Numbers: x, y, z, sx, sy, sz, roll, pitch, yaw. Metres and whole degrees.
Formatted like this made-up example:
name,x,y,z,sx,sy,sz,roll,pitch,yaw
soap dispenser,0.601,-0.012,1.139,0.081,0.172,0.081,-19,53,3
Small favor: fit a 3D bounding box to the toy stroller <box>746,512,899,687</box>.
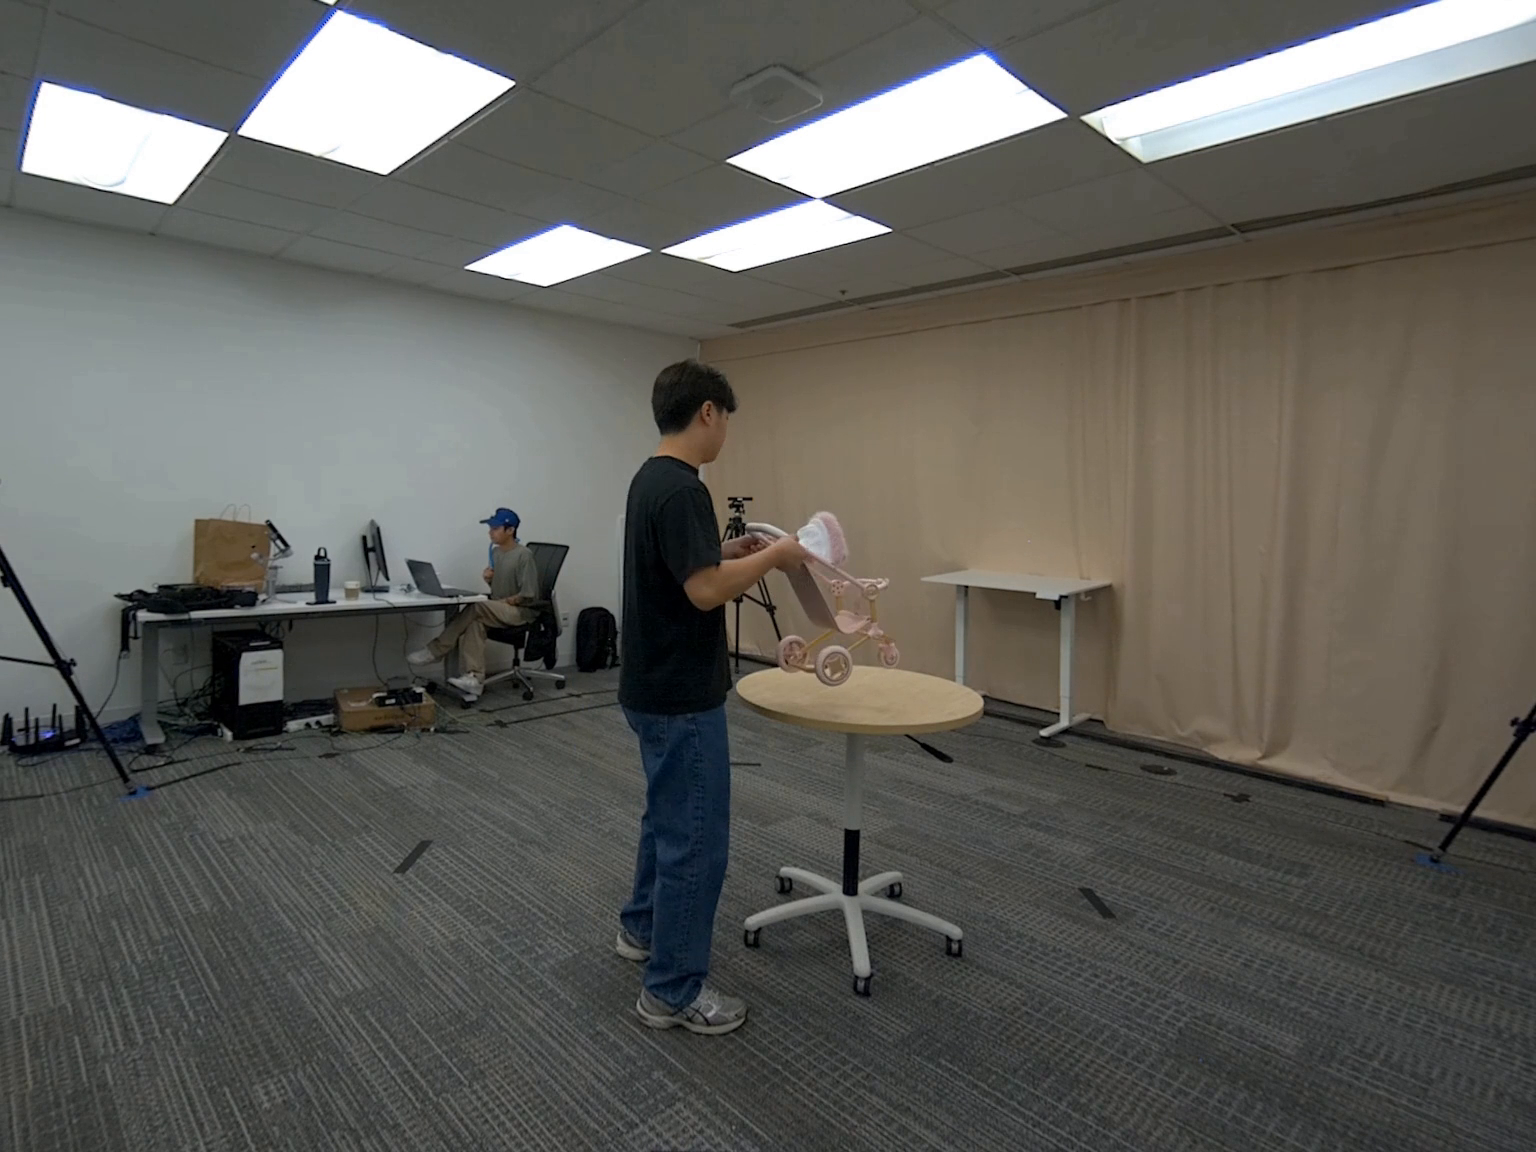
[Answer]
name,x,y,z,sx,sy,sz,roll,pitch,yaw
toy stroller,0.170,0.061,2.398,0.338,0.532,0.286,-18,7,-18
